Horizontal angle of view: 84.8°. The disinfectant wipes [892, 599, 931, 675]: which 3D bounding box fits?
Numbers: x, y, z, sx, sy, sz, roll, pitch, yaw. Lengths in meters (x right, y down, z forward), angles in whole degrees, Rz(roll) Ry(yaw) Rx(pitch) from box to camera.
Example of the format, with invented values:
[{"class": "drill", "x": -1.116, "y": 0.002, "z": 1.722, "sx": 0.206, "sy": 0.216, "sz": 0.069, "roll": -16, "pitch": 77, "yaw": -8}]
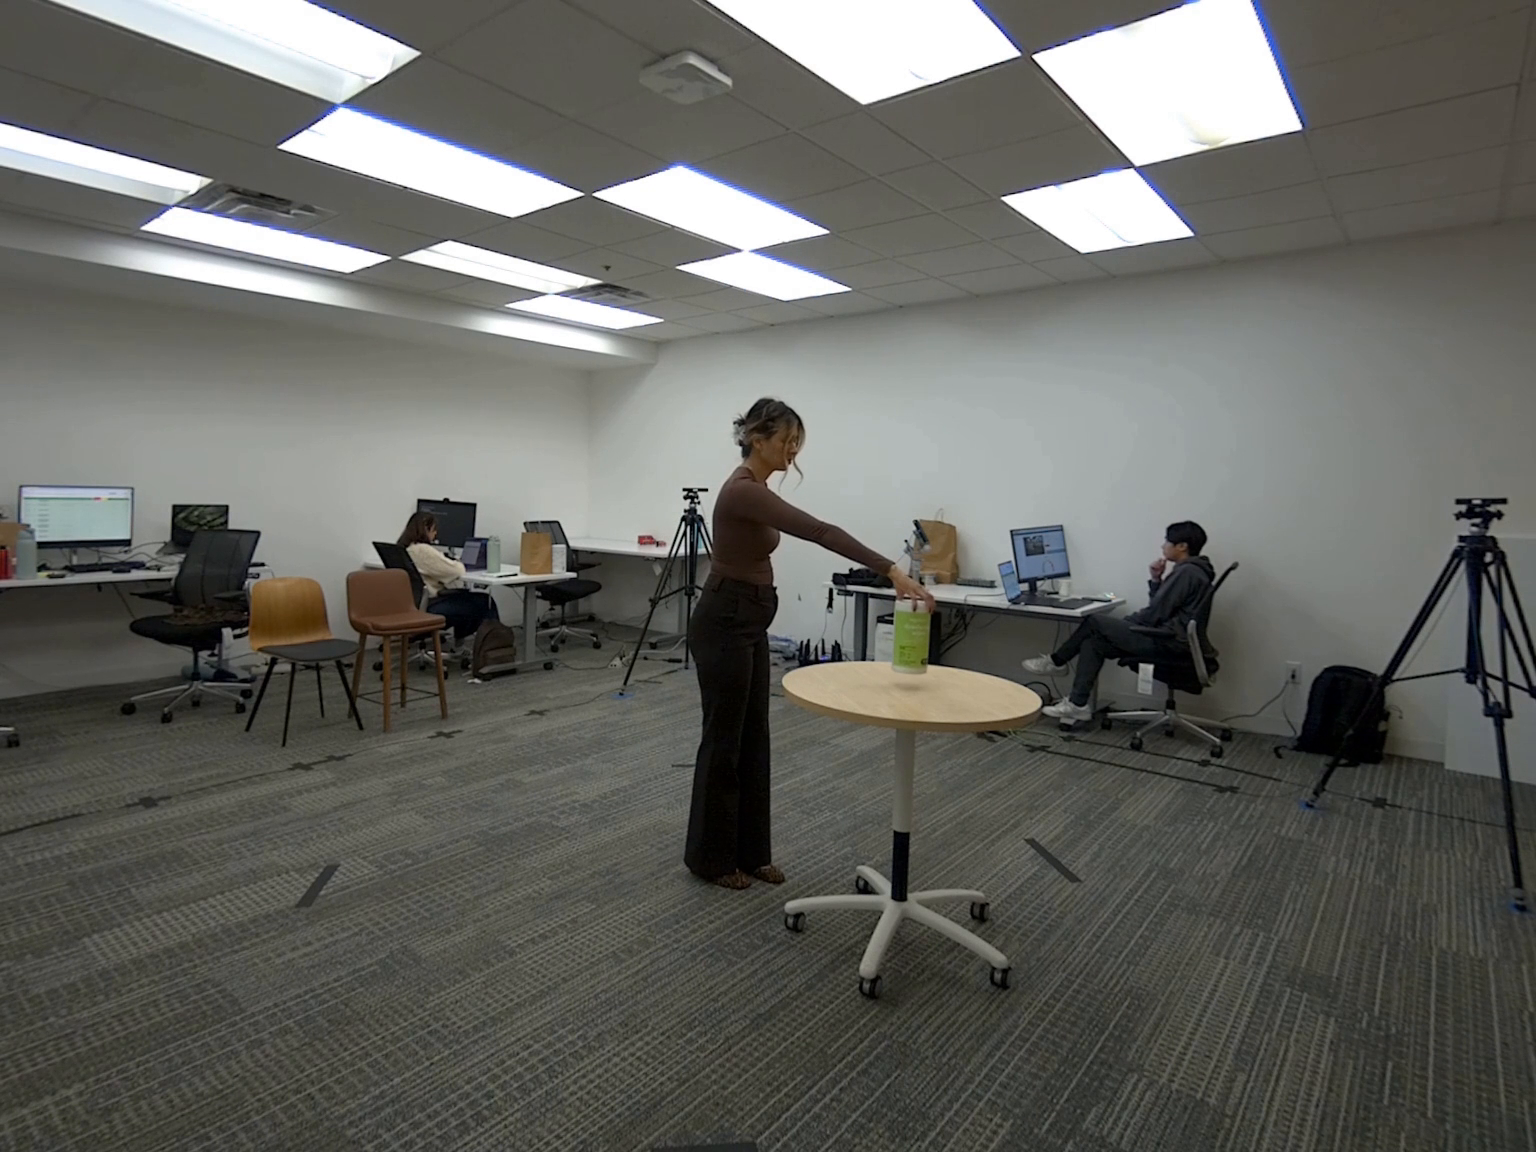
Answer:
[{"class": "disinfectant wipes", "x": 0.431, "y": 0.183, "z": 2.589, "sx": 0.117, "sy": 0.217, "sz": 0.118, "roll": 3, "pitch": 2, "yaw": -2}]
